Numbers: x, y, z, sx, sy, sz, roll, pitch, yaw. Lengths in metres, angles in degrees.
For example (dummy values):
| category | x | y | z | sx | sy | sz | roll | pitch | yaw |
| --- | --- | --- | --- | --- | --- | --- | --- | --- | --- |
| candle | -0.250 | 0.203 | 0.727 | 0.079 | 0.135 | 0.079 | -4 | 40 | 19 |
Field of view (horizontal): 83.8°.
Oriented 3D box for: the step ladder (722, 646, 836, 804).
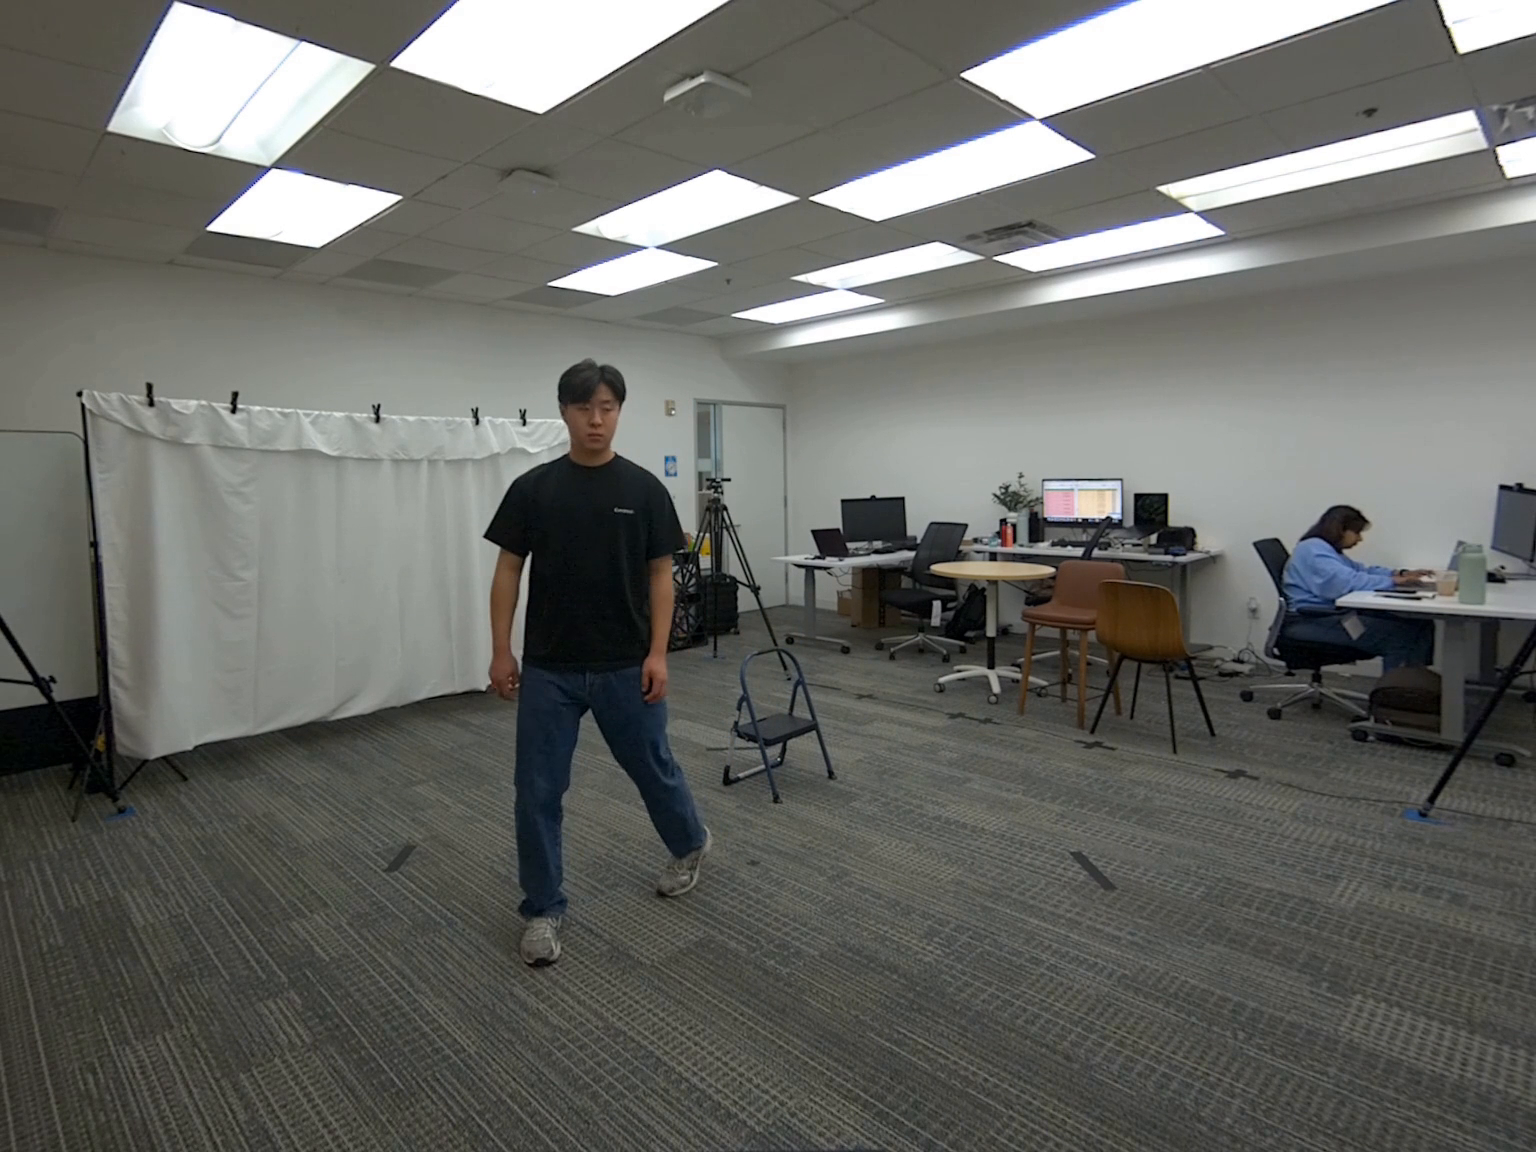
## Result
| category | x | y | z | sx | sy | sz | roll | pitch | yaw |
| --- | --- | --- | --- | --- | --- | --- | --- | --- | --- |
| step ladder | 0.049 | 0.645 | 3.917 | 0.360 | 0.604 | 0.419 | 3 | 6 | 42 |
